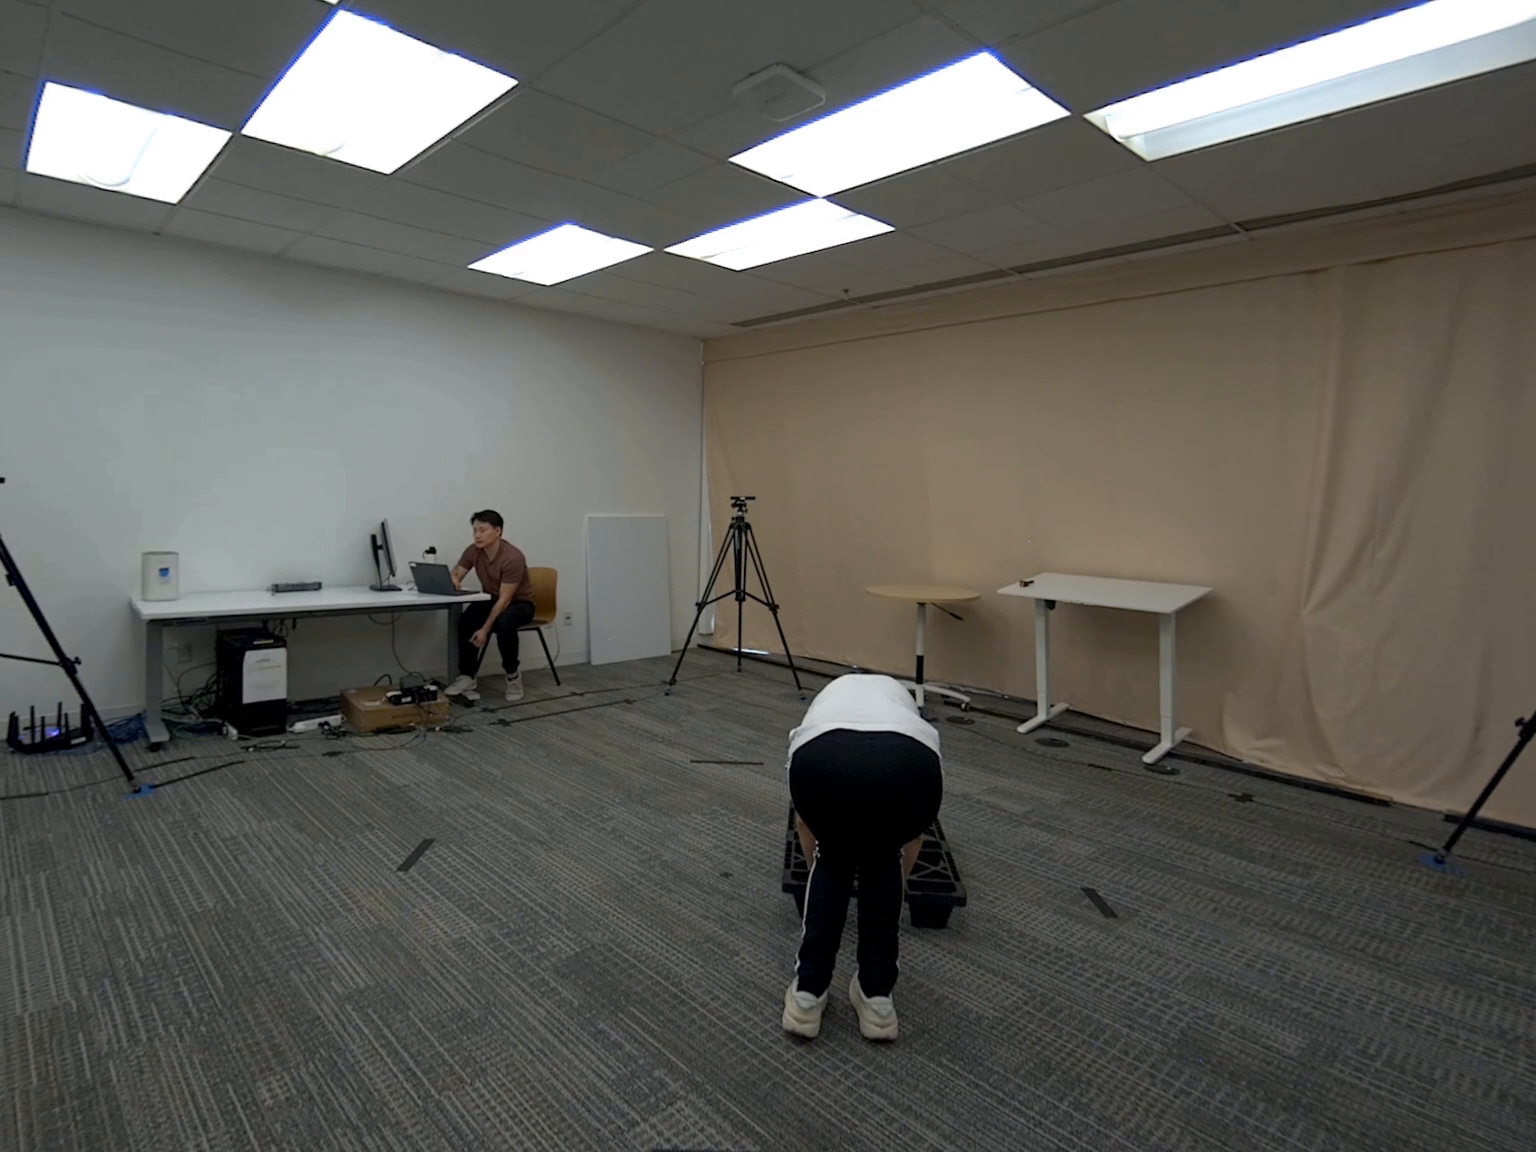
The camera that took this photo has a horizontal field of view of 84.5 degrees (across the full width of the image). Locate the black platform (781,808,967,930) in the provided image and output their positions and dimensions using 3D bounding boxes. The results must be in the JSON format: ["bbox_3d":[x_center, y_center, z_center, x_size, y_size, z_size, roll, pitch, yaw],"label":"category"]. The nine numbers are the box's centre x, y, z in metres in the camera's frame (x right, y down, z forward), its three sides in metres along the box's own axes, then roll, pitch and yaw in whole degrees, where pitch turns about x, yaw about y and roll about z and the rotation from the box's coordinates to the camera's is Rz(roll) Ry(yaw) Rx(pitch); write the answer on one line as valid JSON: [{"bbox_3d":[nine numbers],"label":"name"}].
[{"bbox_3d":[0.362,1.047,3.128,0.608,0.143,0.804,3,5,5],"label":"black platform"}]
